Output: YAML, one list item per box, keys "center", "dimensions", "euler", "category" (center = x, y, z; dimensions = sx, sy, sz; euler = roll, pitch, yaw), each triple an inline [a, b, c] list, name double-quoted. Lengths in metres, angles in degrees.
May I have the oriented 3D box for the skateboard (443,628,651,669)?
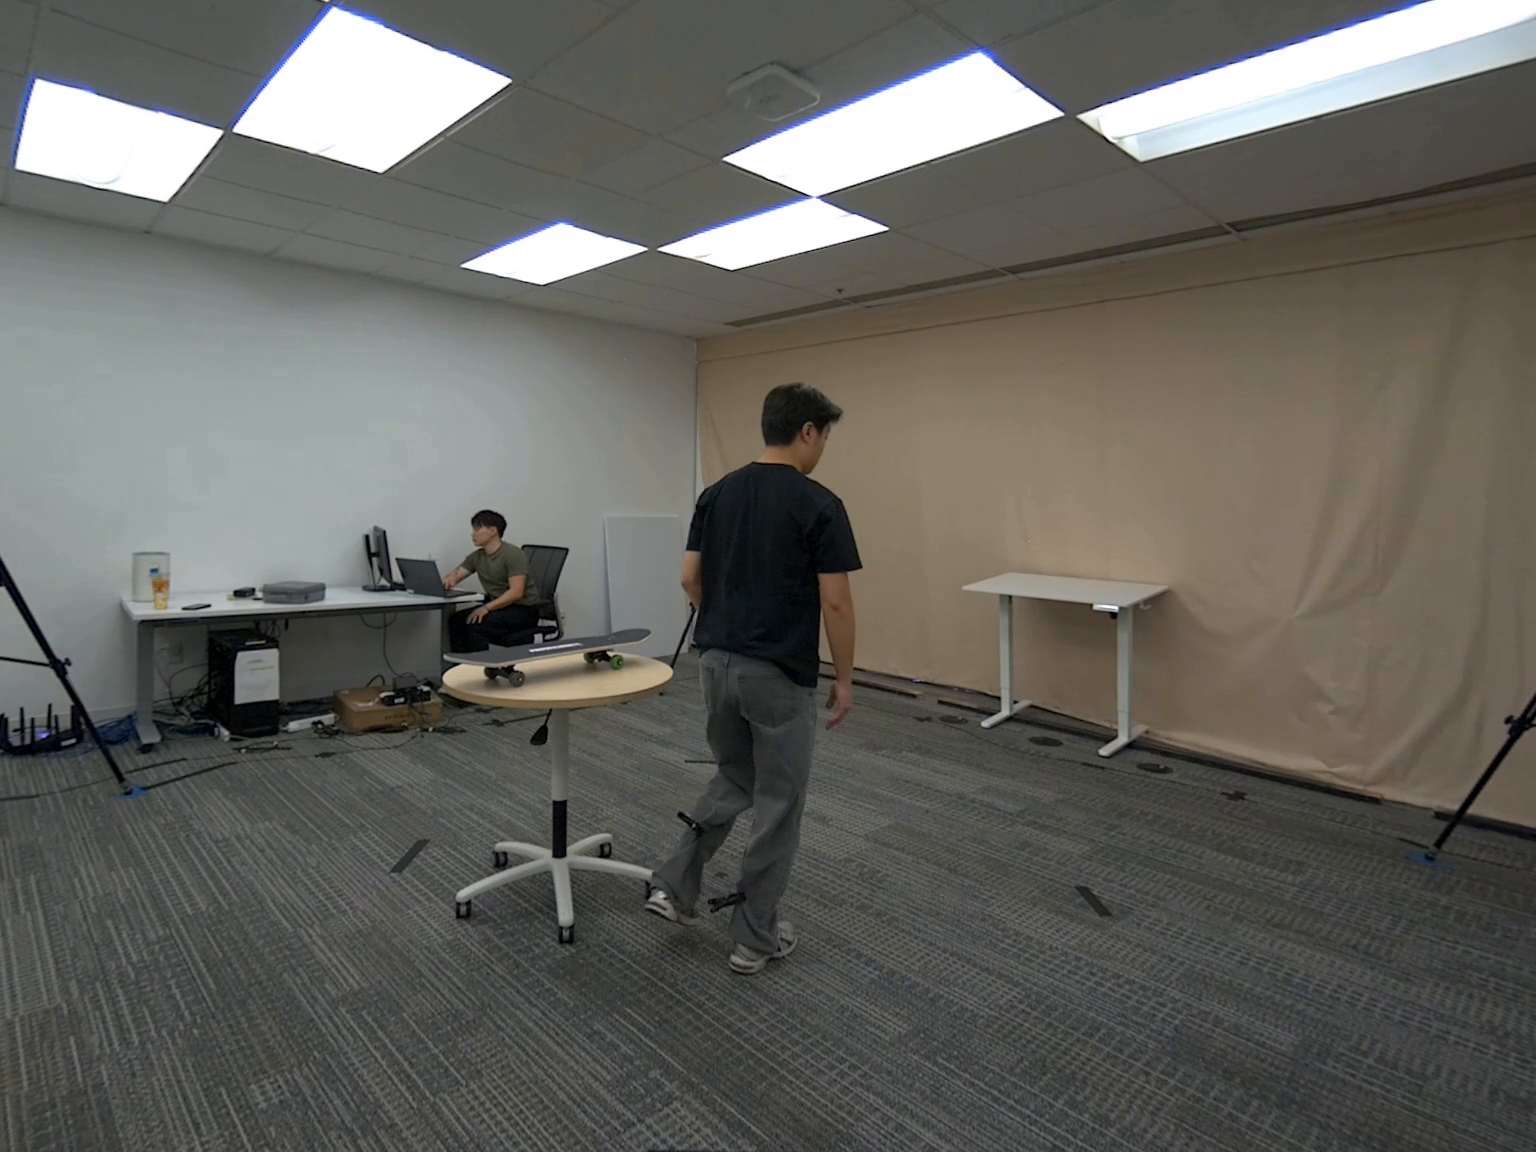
- center: [-0.723, 0.282, 2.851]
  dimensions: [0.198, 0.110, 0.768]
  euler: [6, 8, 43]
  category: "skateboard"
